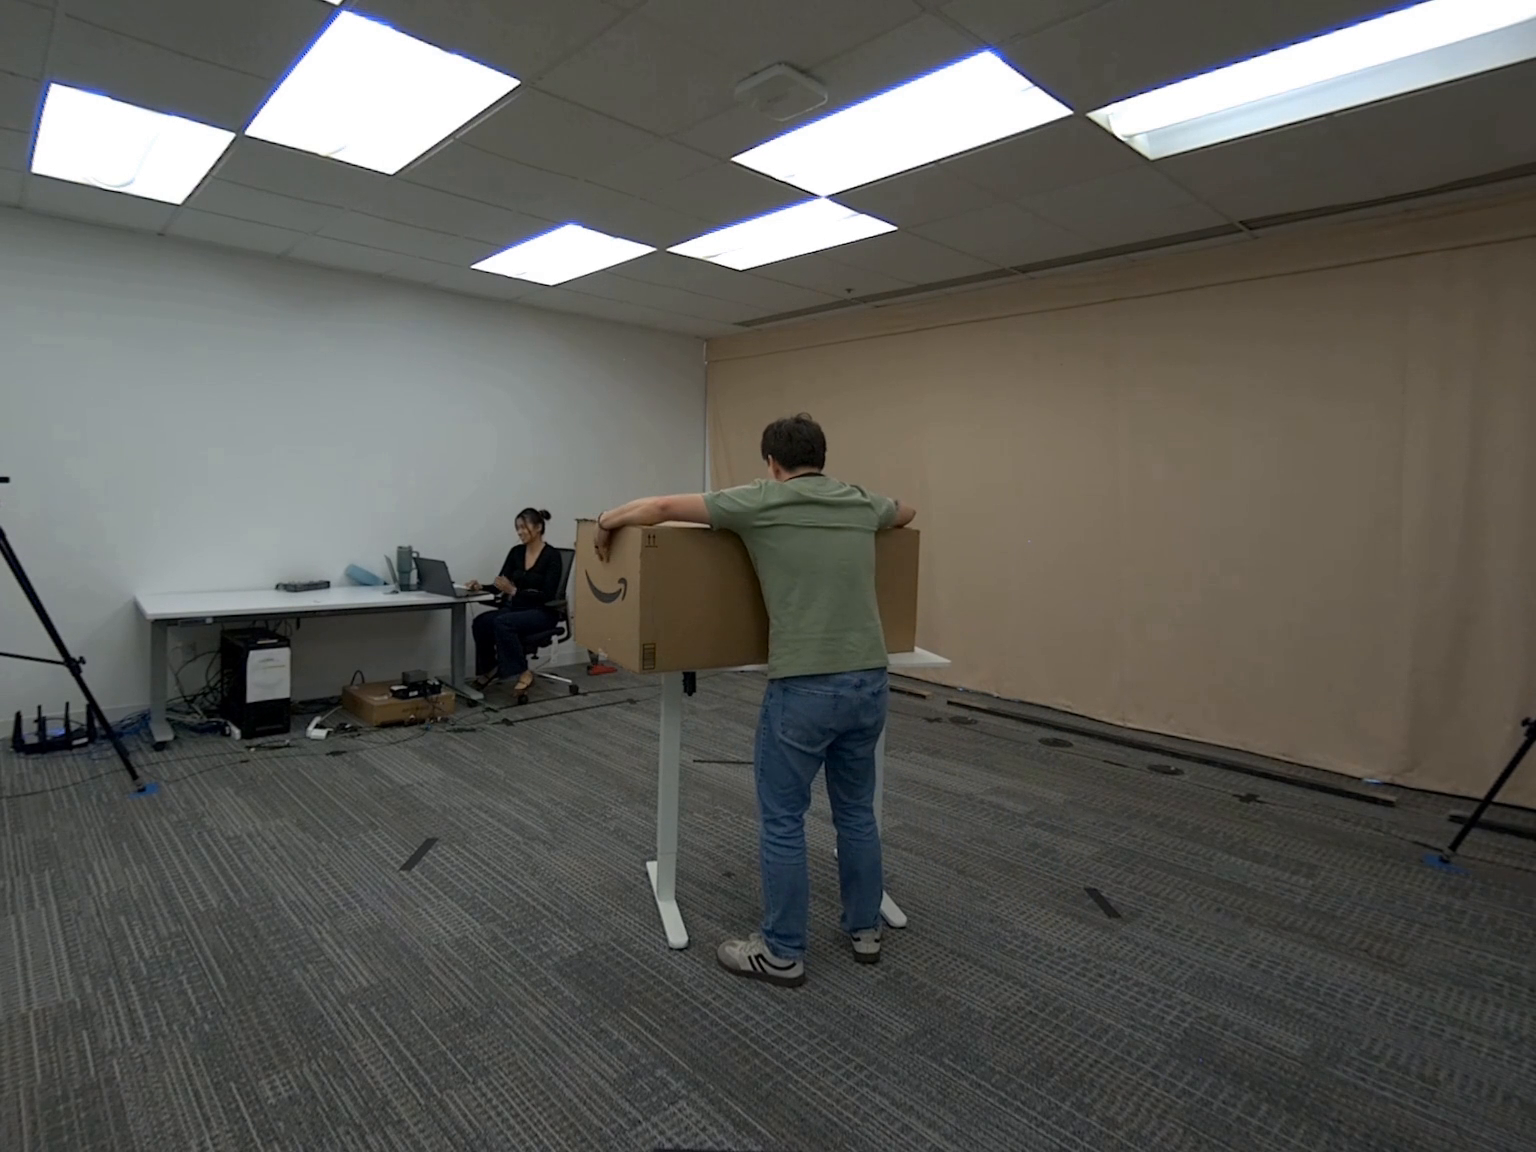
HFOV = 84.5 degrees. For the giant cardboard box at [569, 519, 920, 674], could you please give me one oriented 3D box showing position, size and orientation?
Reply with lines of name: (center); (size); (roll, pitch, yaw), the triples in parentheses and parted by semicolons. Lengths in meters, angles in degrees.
giant cardboard box: (-0.078, 0.022, 2.870); (1.005, 0.425, 0.591); (-1, 6, -30)
